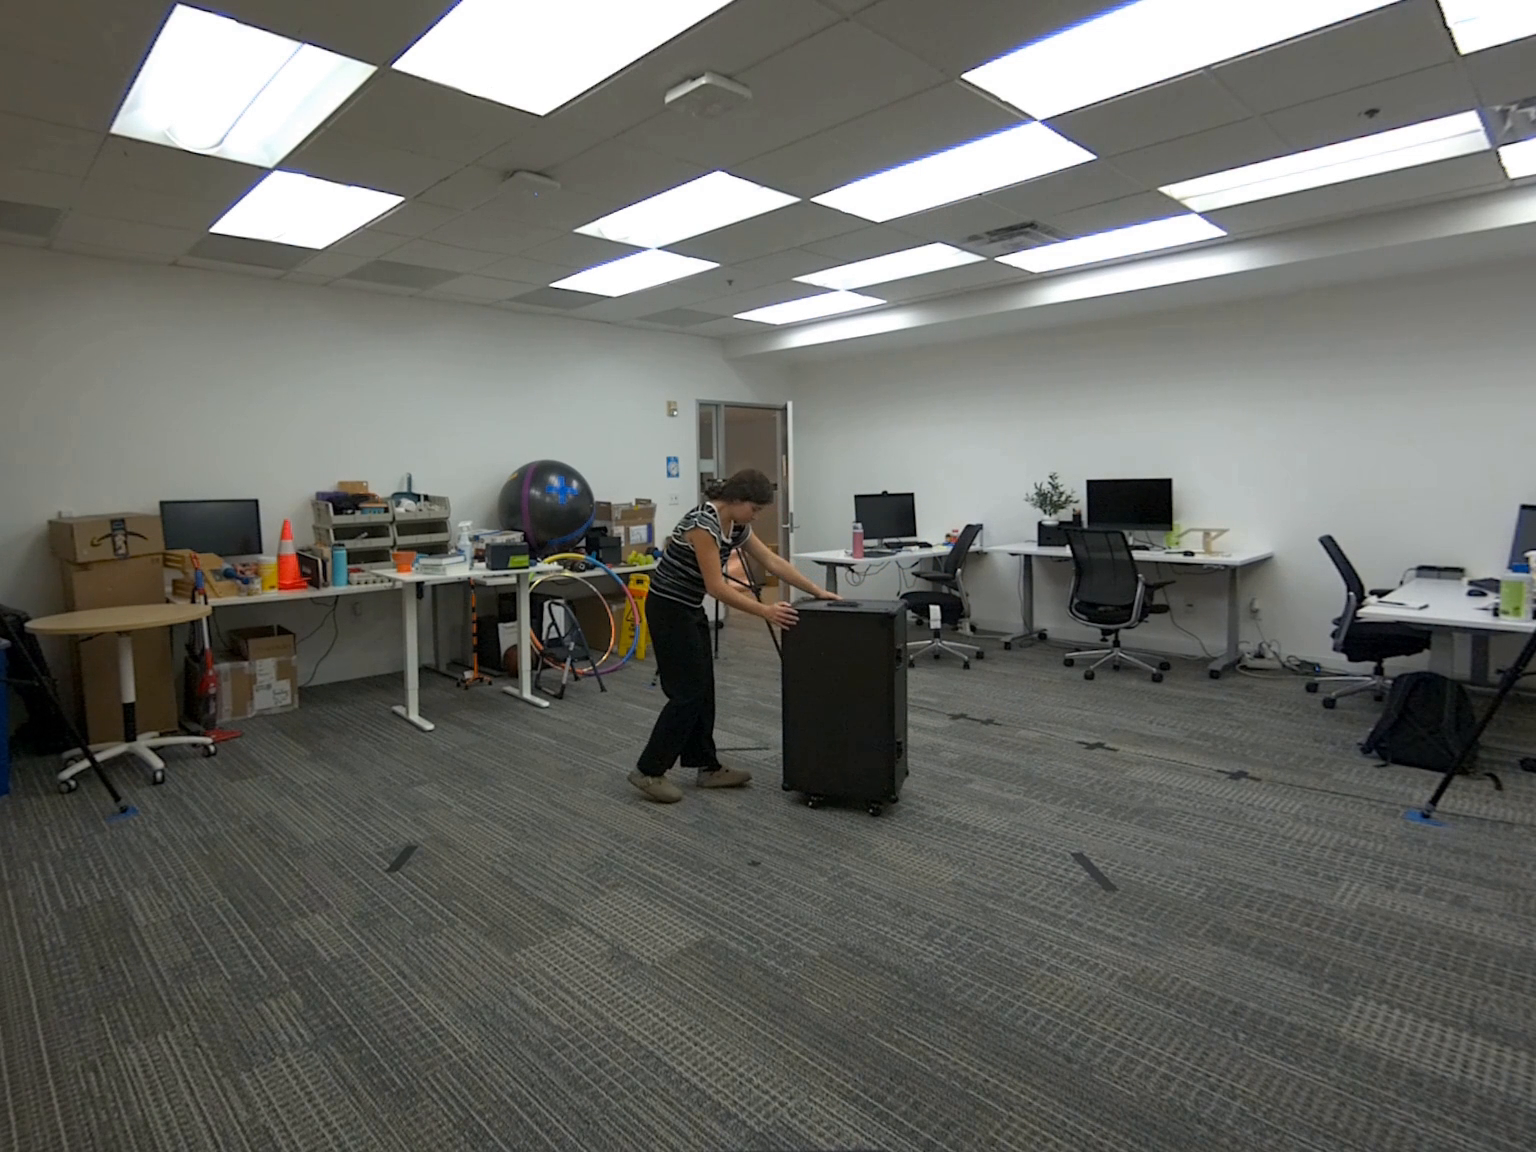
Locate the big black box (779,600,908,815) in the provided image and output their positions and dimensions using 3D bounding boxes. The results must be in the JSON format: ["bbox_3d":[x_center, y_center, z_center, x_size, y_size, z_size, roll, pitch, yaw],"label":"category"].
[{"bbox_3d":[0.338,0.551,3.706,0.531,0.859,0.390,1,3,20],"label":"big black box"}]
